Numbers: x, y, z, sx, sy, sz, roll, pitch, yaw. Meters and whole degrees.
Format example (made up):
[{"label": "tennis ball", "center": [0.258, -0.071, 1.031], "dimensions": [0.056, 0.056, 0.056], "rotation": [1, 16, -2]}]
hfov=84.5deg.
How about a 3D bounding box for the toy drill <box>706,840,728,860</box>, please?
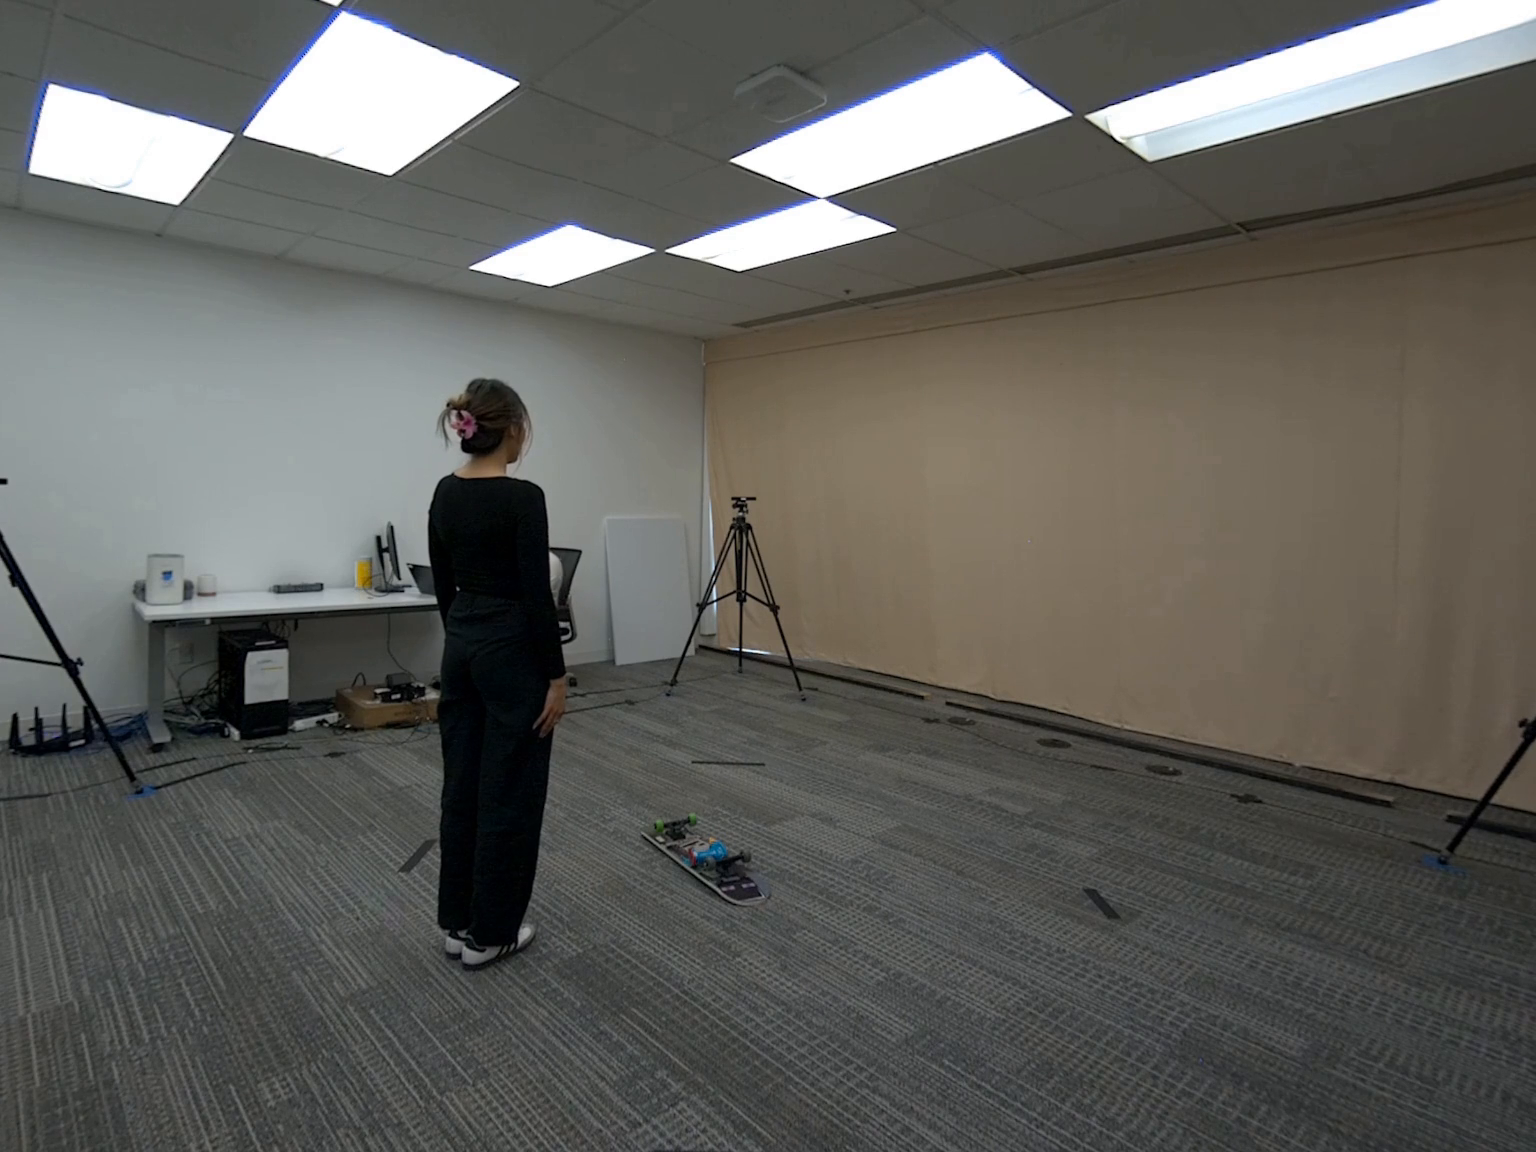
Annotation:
[{"label": "toy drill", "center": [-0.234, 1.036, 3.178], "dimensions": [0.144, 0.061, 0.174], "rotation": [-2, 12, -21]}]
